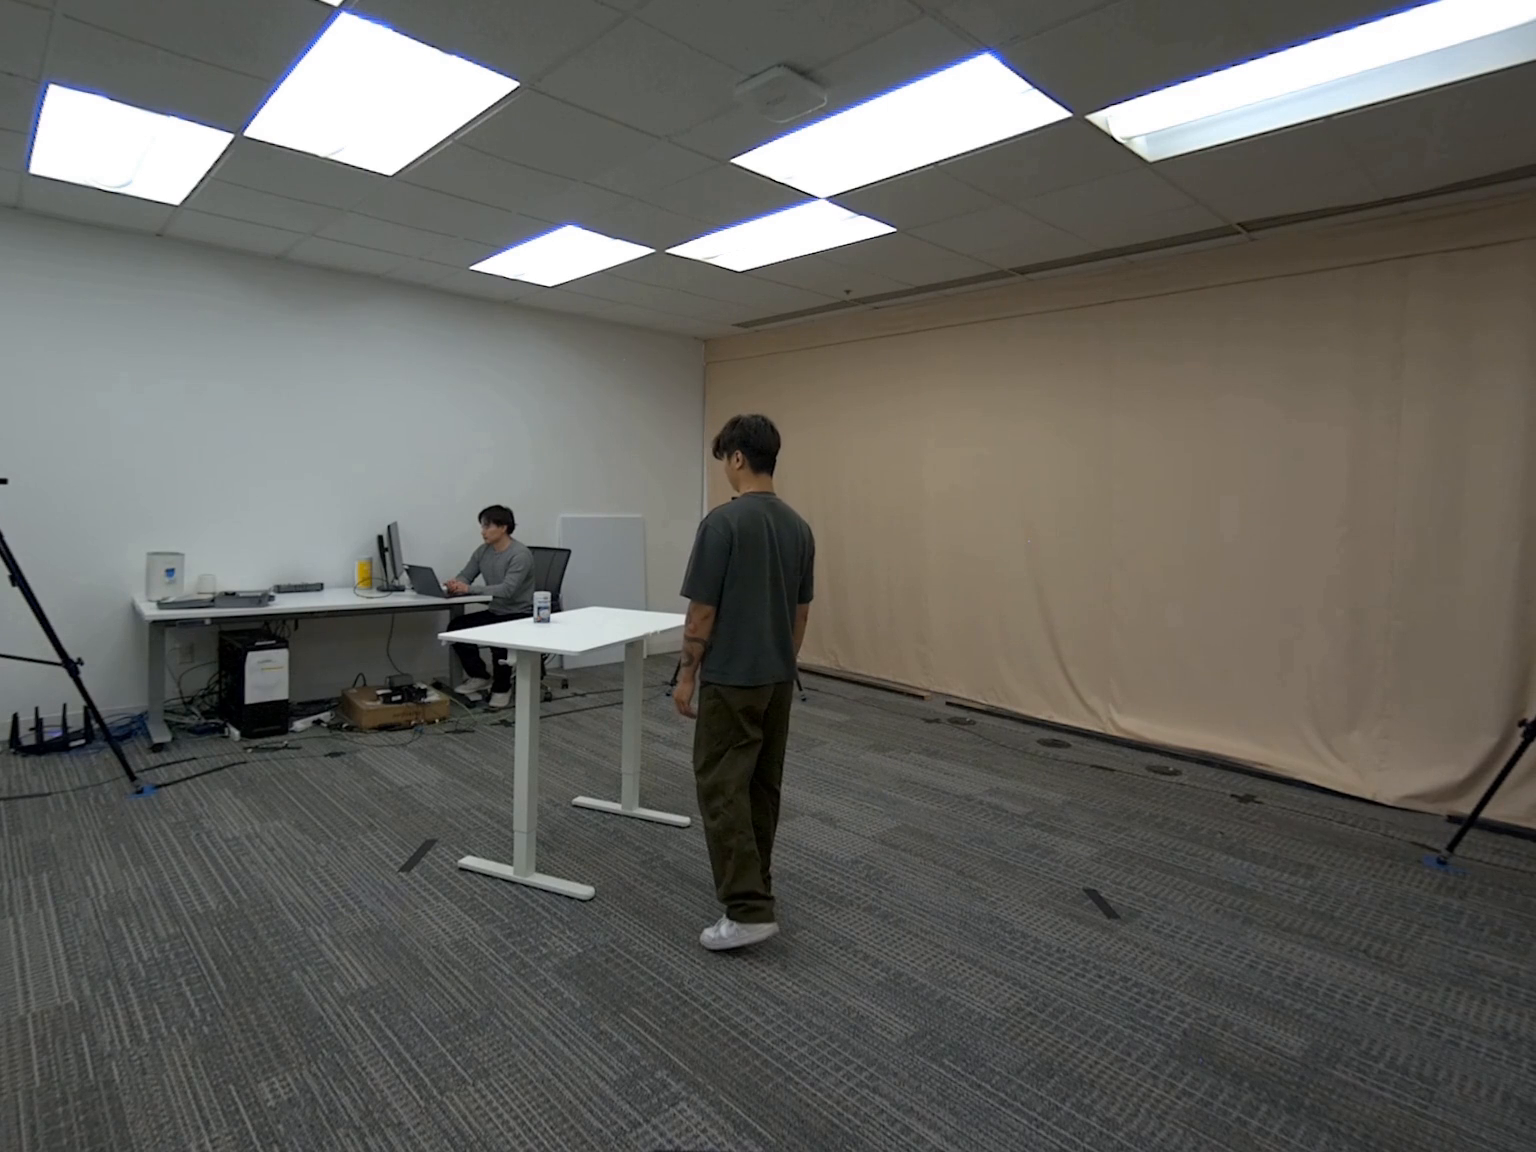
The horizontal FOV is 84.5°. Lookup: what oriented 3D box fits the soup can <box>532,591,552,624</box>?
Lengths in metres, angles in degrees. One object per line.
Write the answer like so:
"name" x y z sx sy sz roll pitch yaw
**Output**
"soup can" -0.903 0.127 3.343 0.067 0.121 0.067 -1 3 -1
